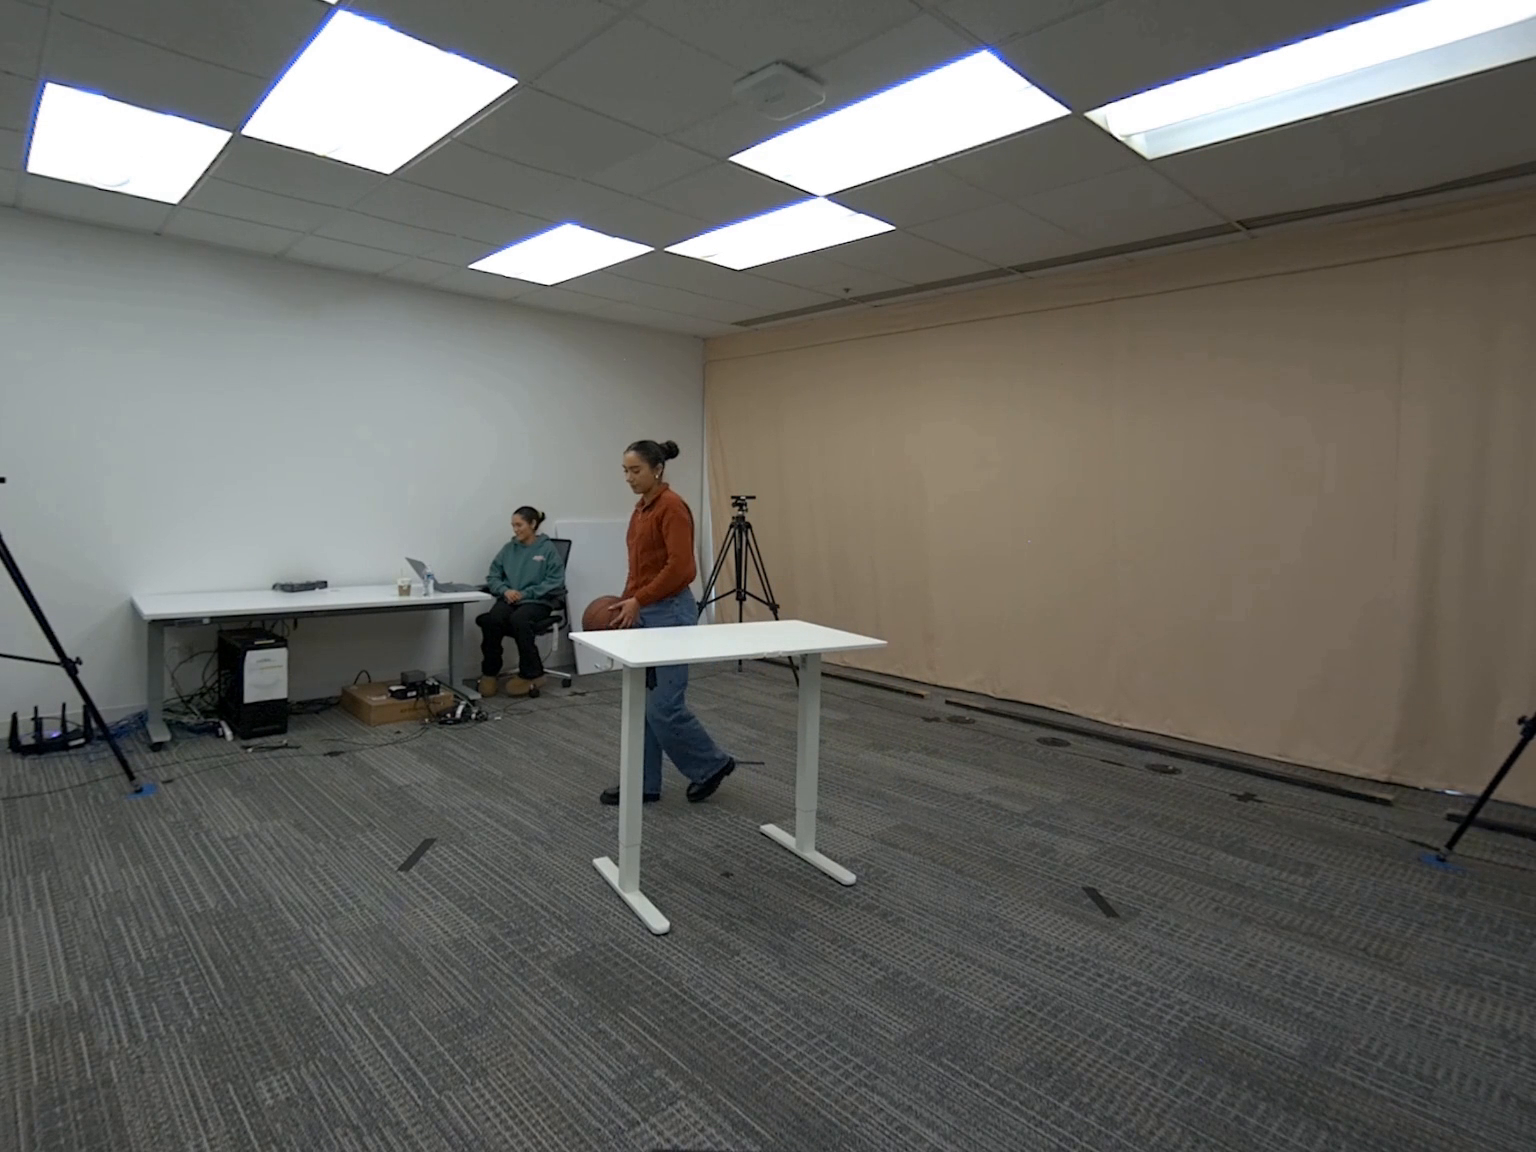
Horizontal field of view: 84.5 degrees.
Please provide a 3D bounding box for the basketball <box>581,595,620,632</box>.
[{"bbox_3d":[-0.684,0.202,3.684,0.236,0.235,0.237,1,4,-1],"label":"basketball"}]
